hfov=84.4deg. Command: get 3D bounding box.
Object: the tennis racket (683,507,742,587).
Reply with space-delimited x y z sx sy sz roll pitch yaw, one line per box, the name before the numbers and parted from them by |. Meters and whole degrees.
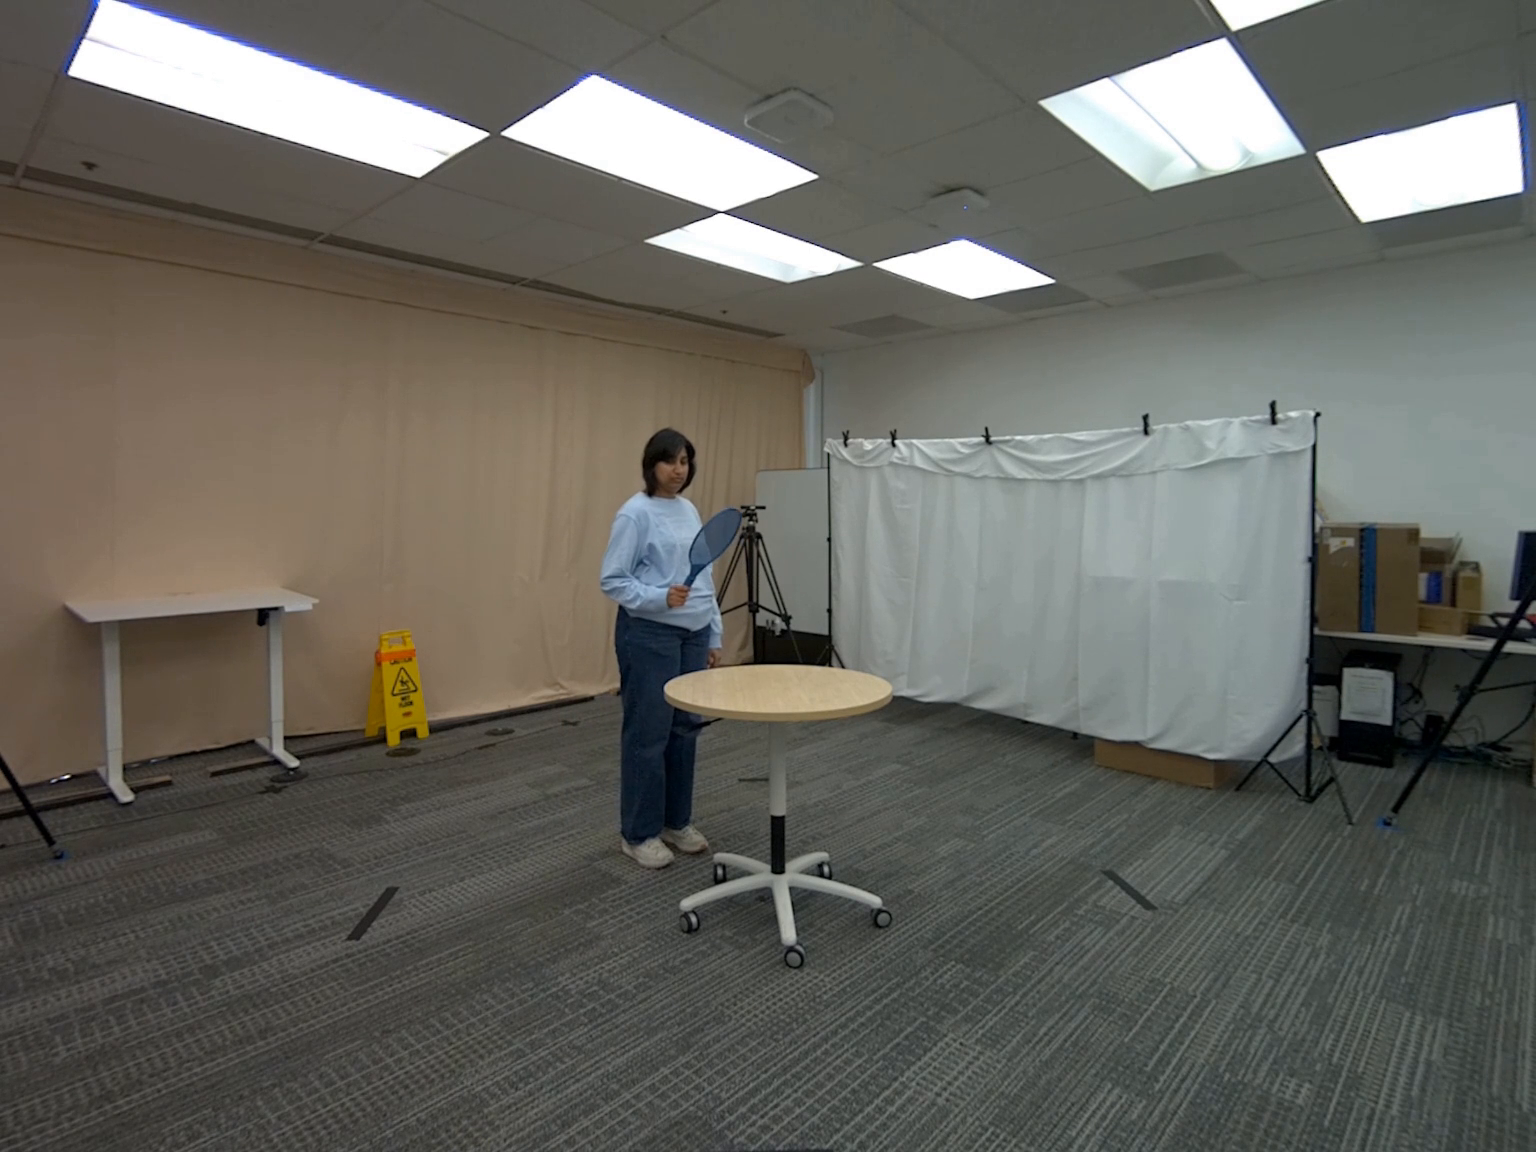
tennis racket | -0.228 -0.067 3.037 0.032 0.432 0.208 43 34 23
